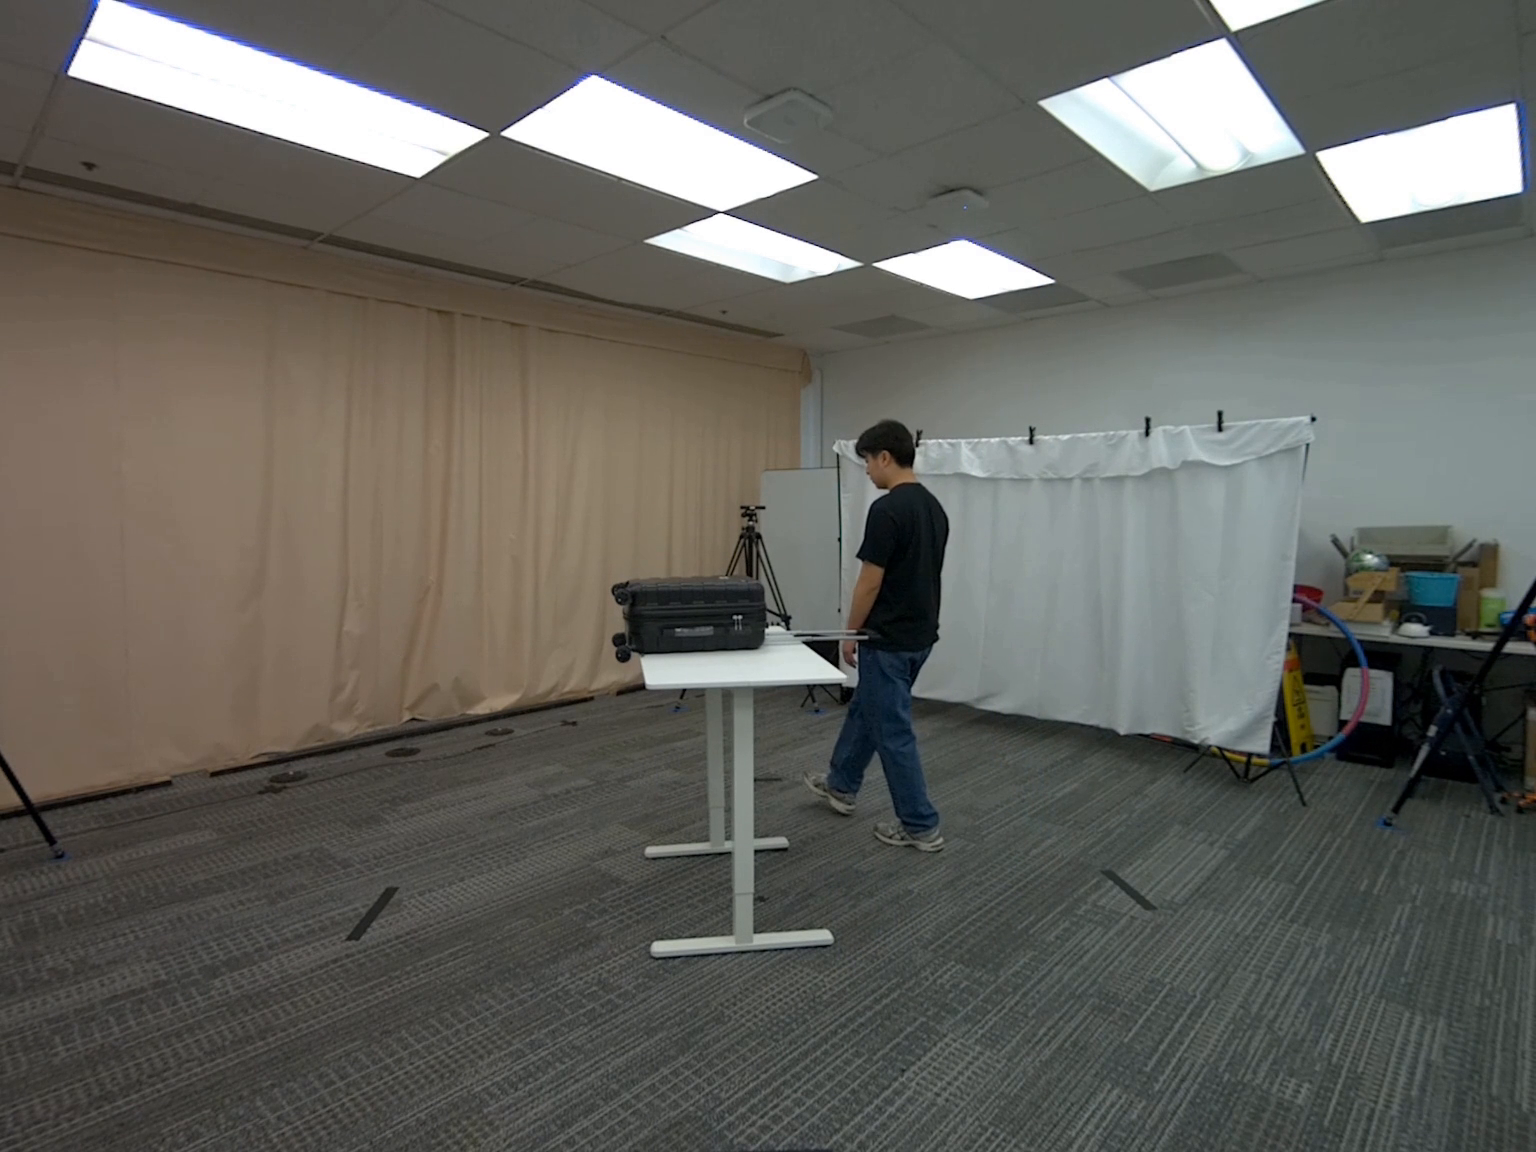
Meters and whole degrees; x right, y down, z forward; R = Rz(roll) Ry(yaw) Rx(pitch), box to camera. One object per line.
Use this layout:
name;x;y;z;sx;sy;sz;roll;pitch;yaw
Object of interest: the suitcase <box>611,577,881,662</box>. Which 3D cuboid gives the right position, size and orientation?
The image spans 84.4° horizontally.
suitcase;-0.086;0.129;3.108;0.968;0.256;0.389;-3;4;-10
